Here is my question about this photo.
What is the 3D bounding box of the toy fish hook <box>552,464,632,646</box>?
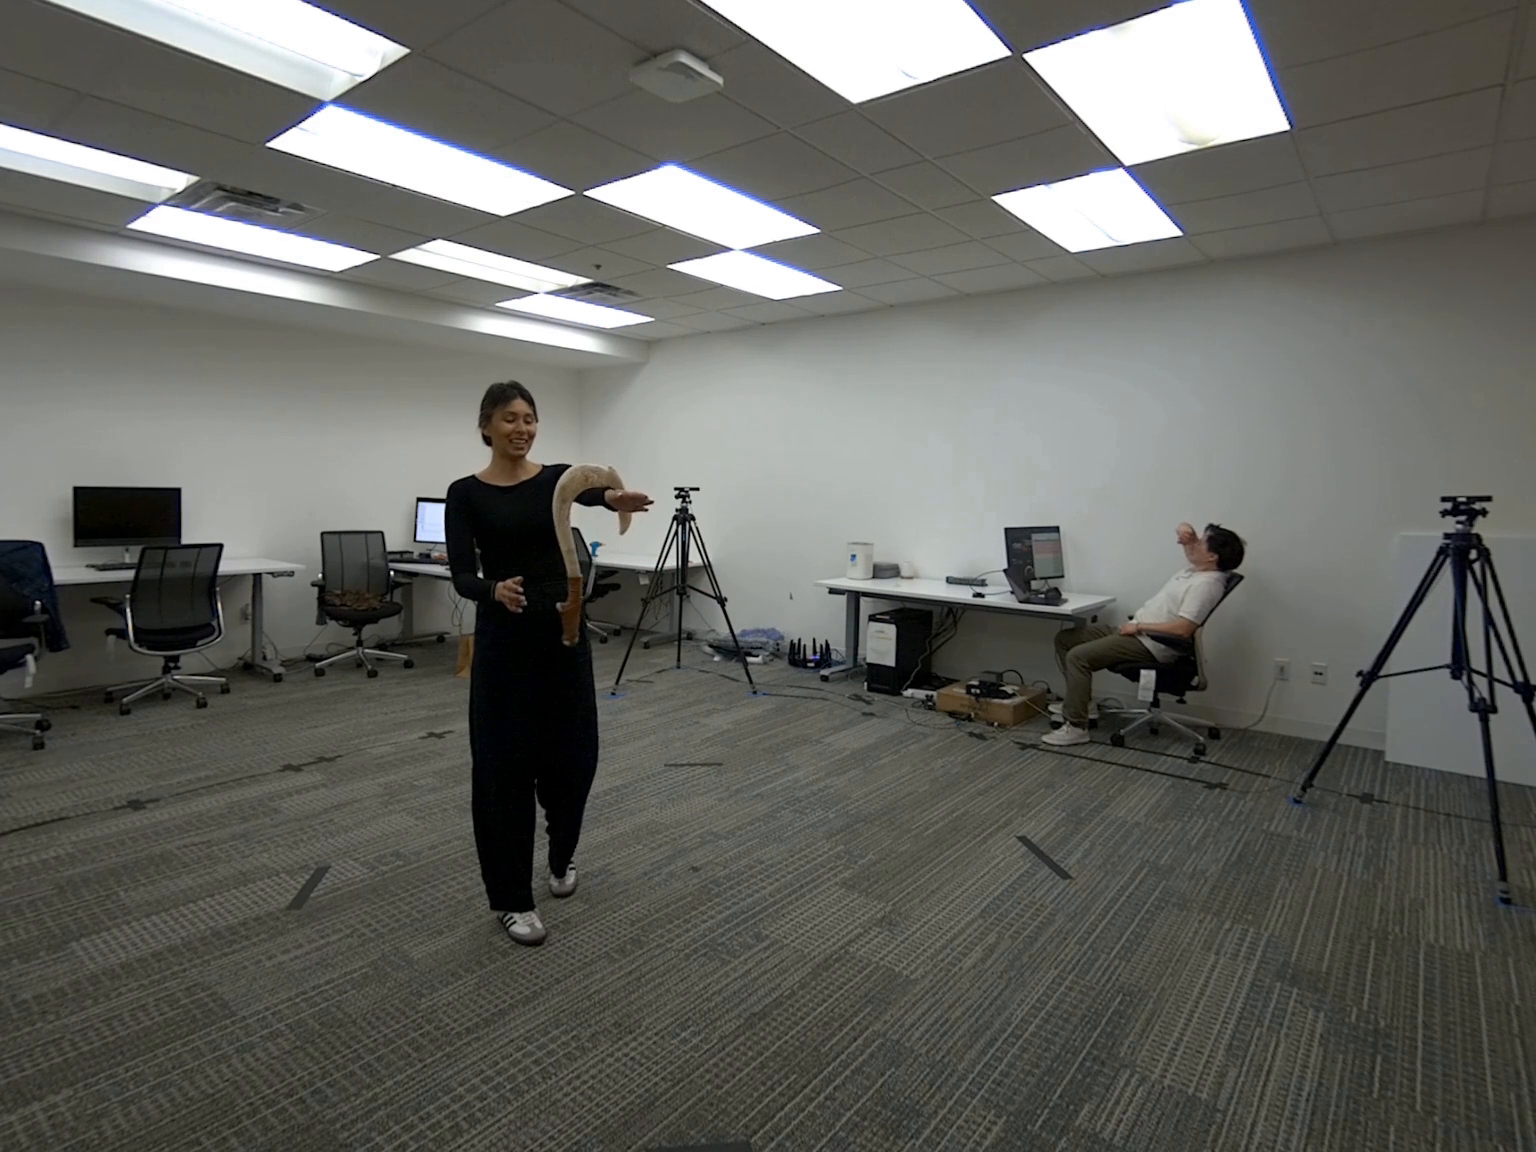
[{"bbox_3d":[-0.491,-0.055,2.345,0.220,0.504,0.049,3,6,-20],"label":"toy fish hook"}]
